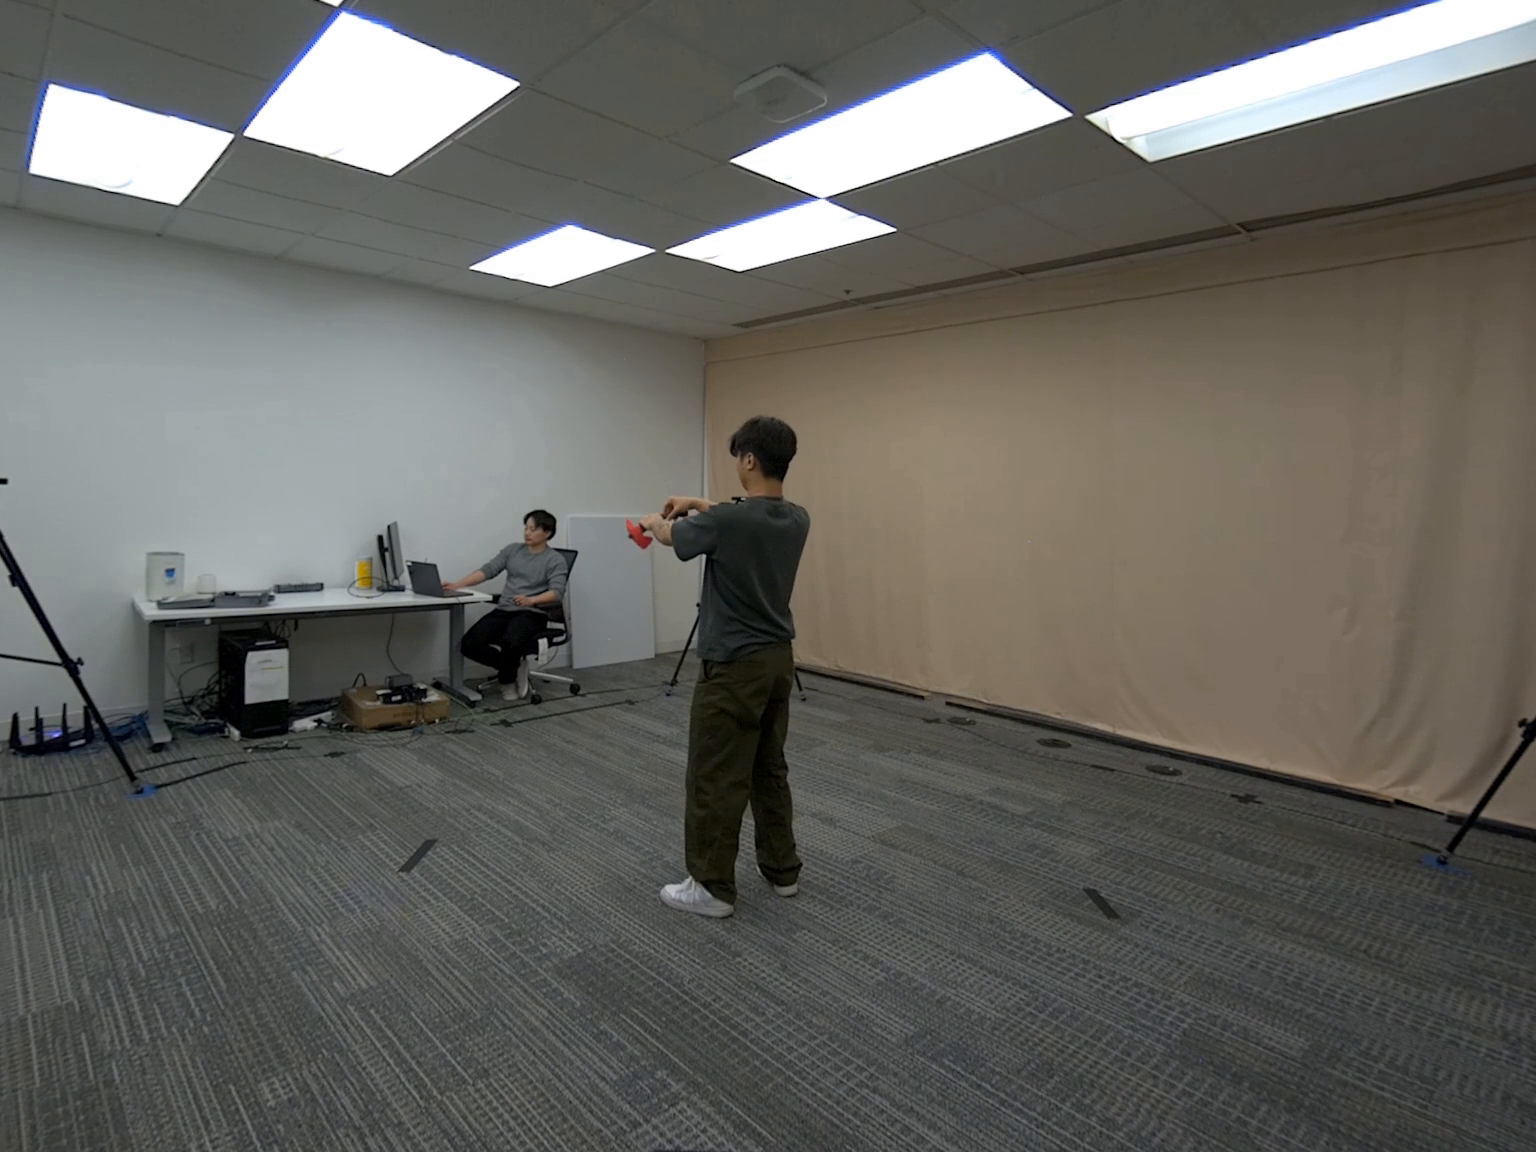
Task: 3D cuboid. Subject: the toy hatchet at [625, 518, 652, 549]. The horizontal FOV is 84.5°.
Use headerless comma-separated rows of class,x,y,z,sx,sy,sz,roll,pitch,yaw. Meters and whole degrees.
toy hatchet,-0.418,-0.172,3.244,0.266,0.132,0.030,-9,-7,-25
